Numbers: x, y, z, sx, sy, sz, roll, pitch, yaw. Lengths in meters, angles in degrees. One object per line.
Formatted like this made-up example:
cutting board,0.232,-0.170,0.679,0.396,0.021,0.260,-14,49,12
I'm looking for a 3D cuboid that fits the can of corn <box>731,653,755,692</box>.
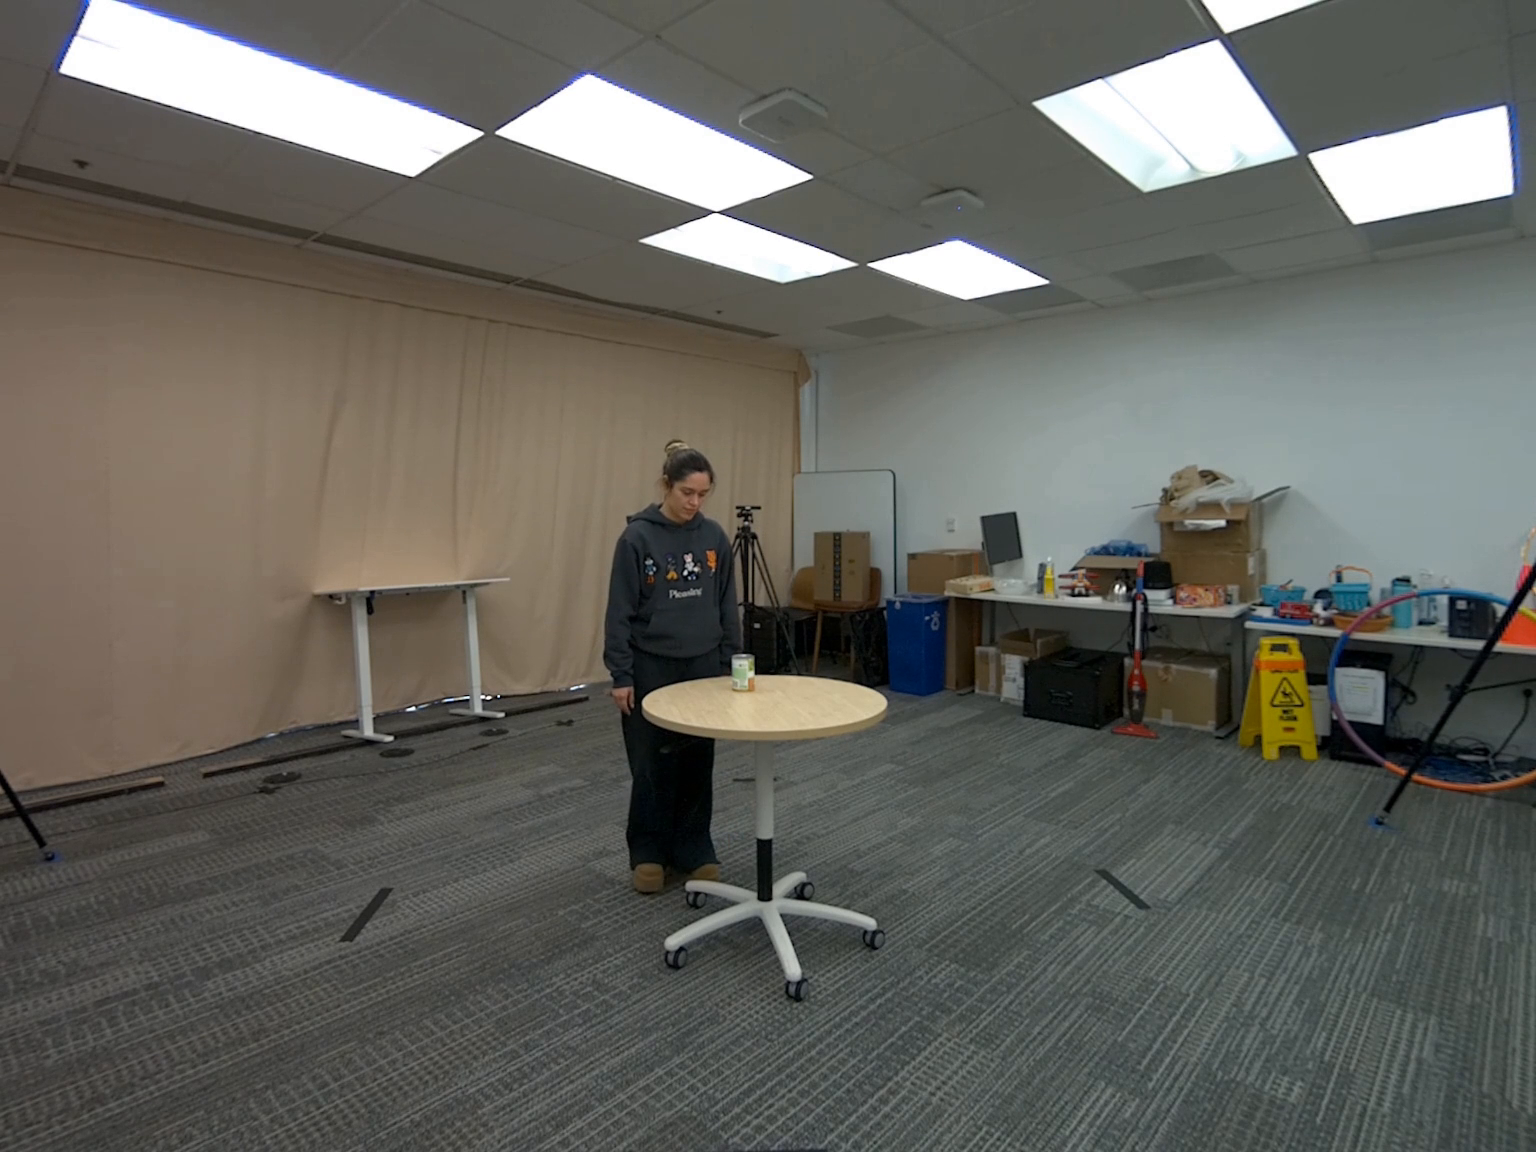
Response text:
can of corn,-0.067,0.324,2.787,0.074,0.110,0.074,-3,6,-2
